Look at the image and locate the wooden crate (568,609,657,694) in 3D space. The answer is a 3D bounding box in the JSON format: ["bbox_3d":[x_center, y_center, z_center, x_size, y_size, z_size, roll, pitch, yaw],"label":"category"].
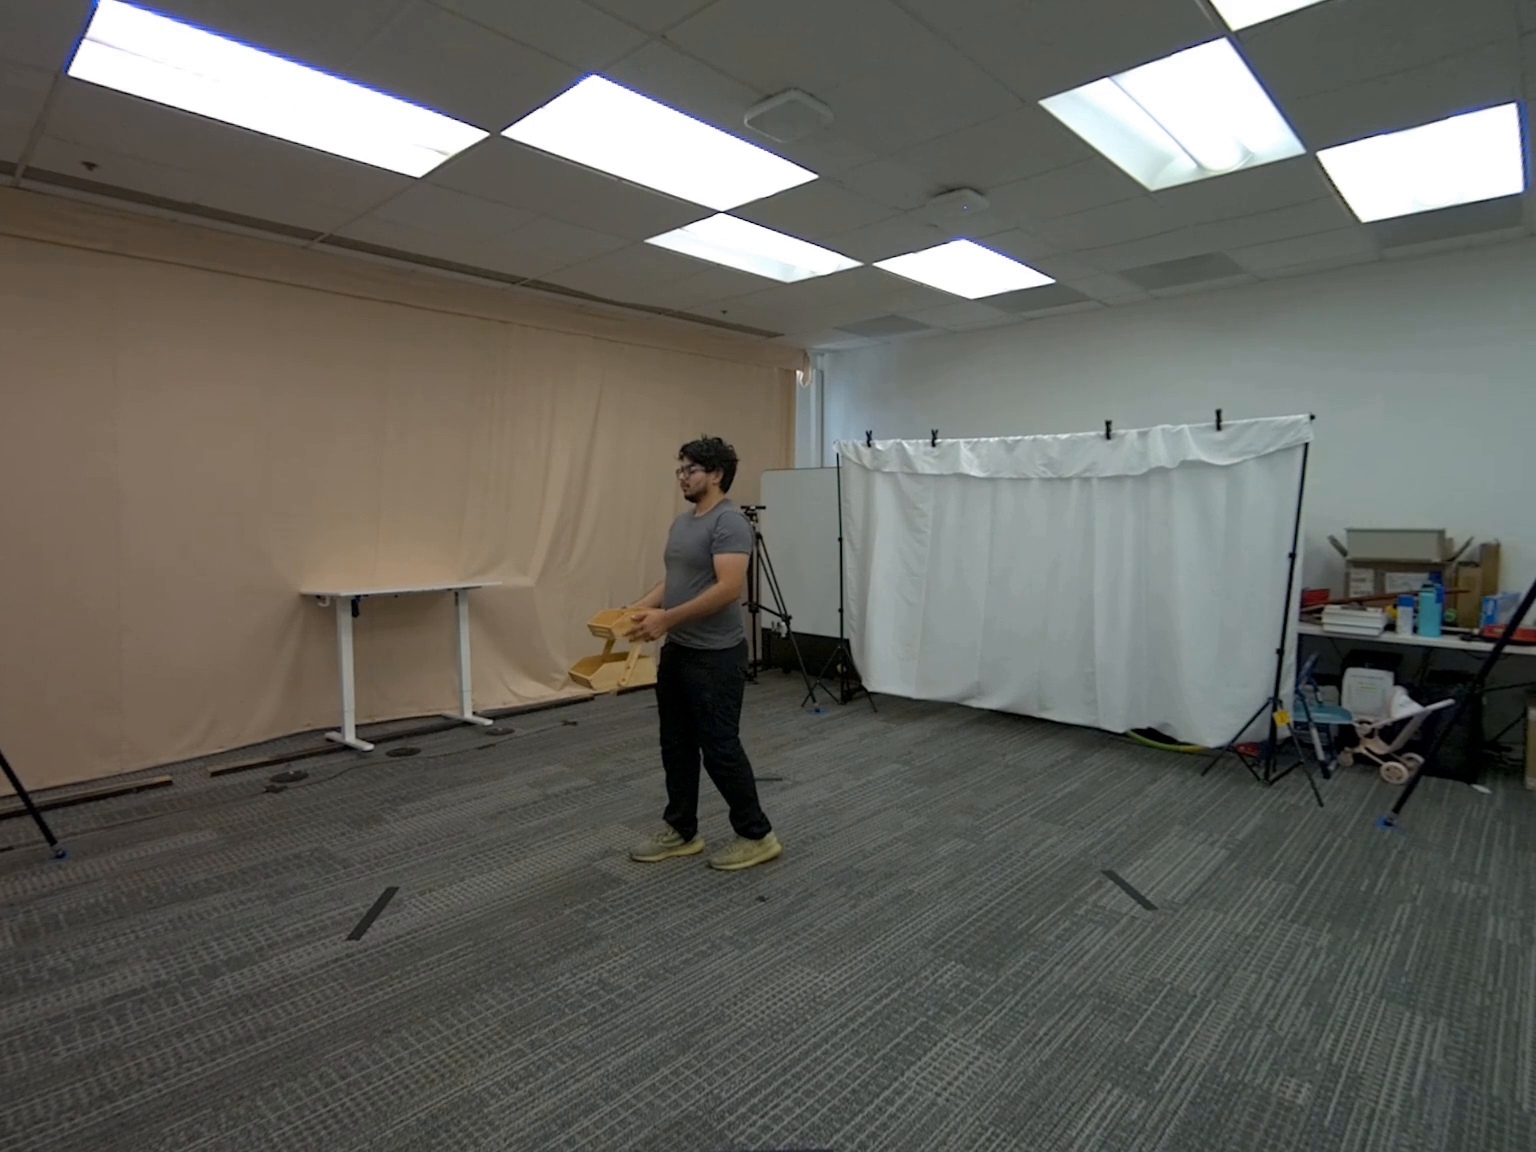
[{"bbox_3d":[-0.573,0.263,3.139,0.295,0.273,0.332,-4,0,-27],"label":"wooden crate"}]
